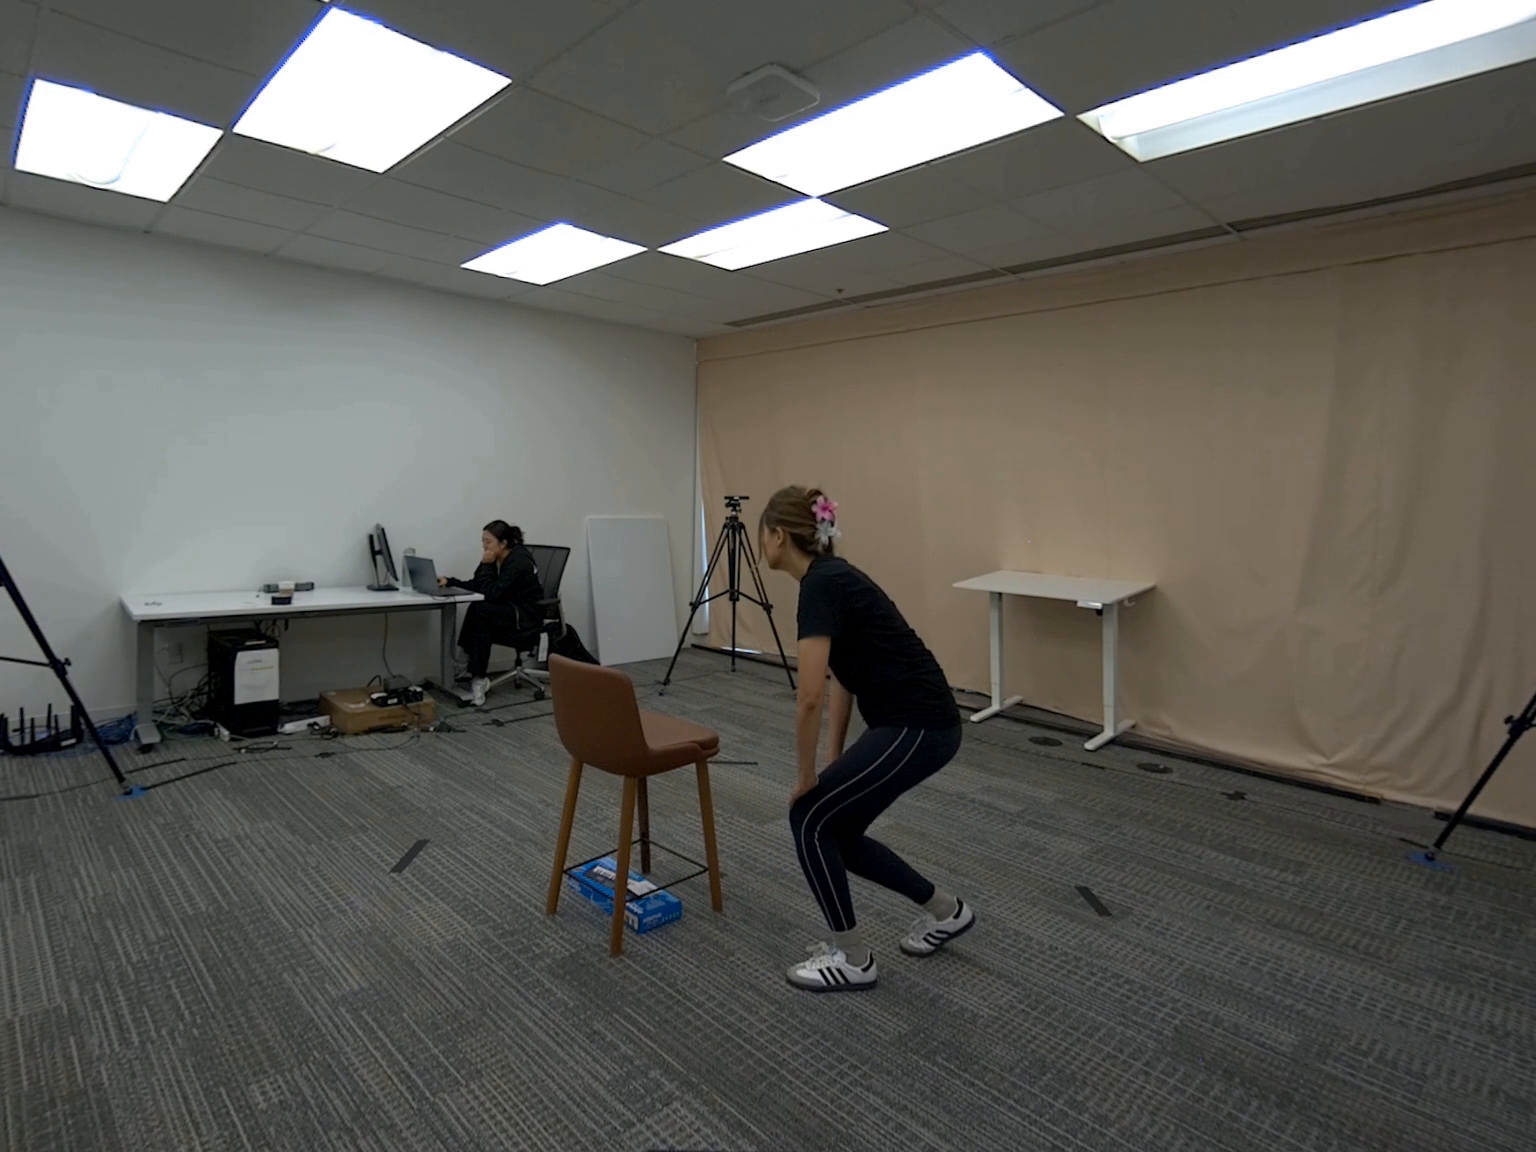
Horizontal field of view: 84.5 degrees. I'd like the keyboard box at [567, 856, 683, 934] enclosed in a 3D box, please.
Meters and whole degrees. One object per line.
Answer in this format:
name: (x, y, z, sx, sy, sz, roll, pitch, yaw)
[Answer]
keyboard box: (-0.501, 1.079, 2.889, 0.172, 0.059, 0.448, -3, 7, -44)
